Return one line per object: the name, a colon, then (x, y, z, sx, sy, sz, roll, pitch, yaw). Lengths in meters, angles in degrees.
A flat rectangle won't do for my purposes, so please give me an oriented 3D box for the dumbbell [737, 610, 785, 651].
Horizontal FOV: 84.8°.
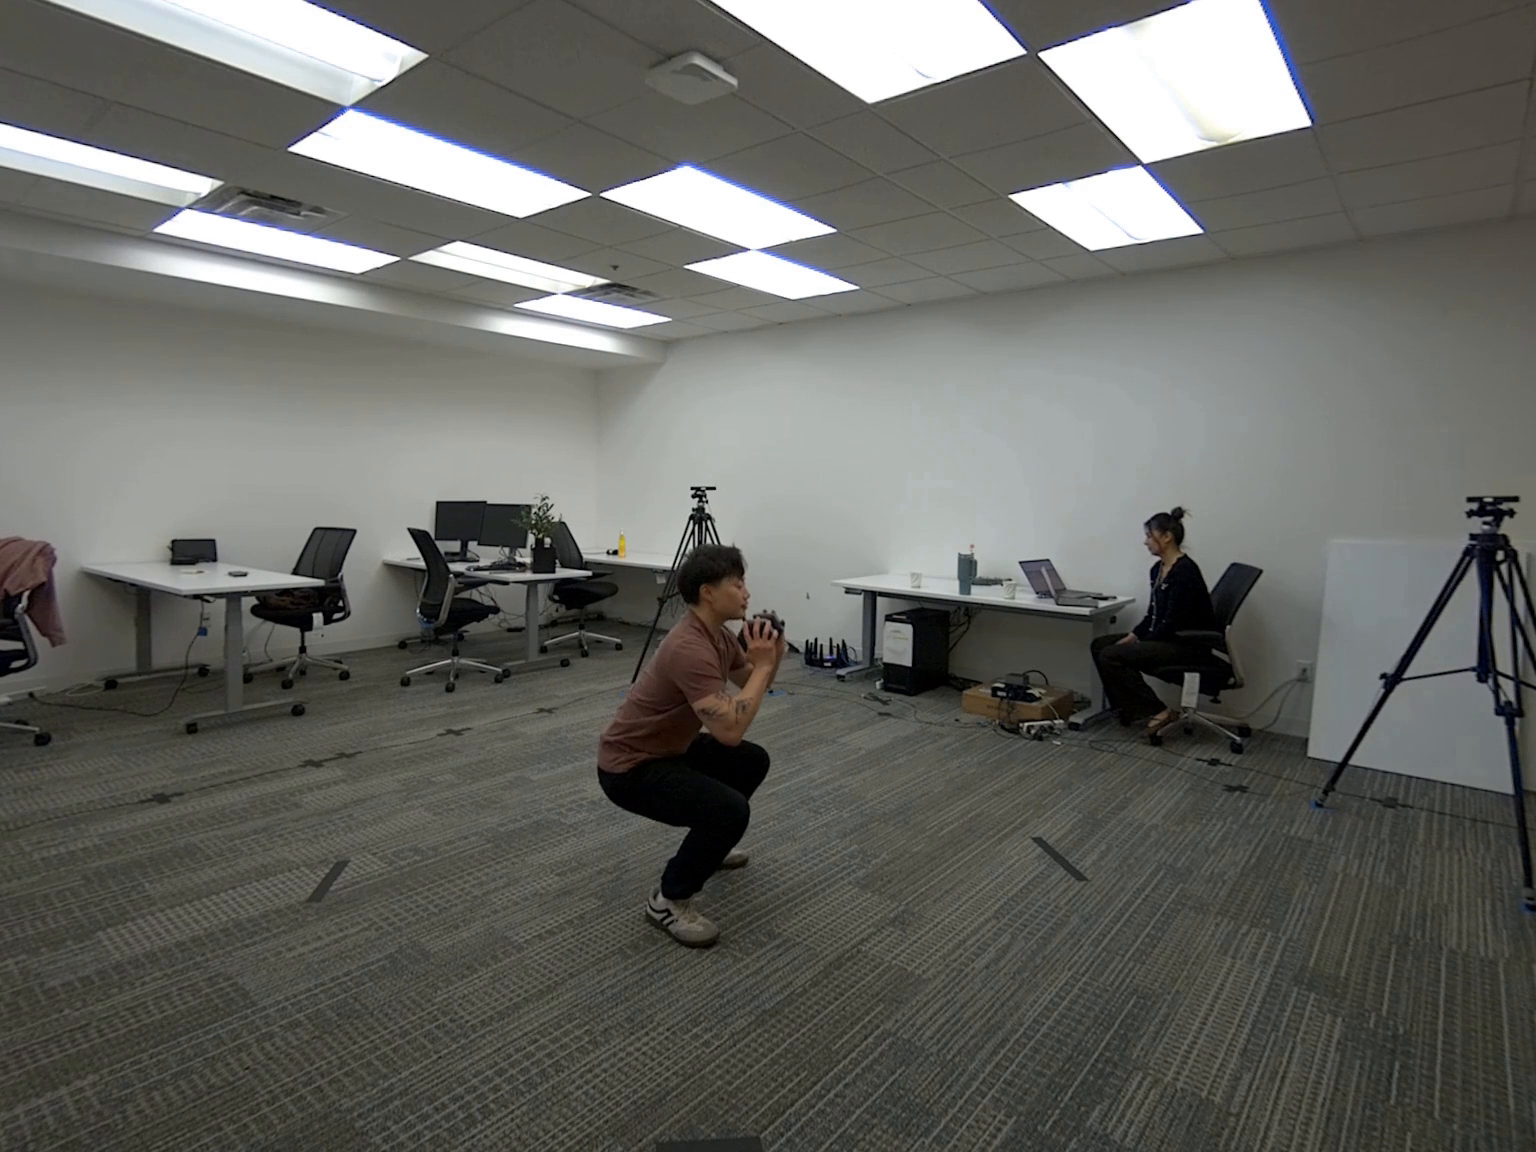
dumbbell: (-0.045, 0.183, 2.807, 0.110, 0.123, 0.291, 28, 3, 5)
